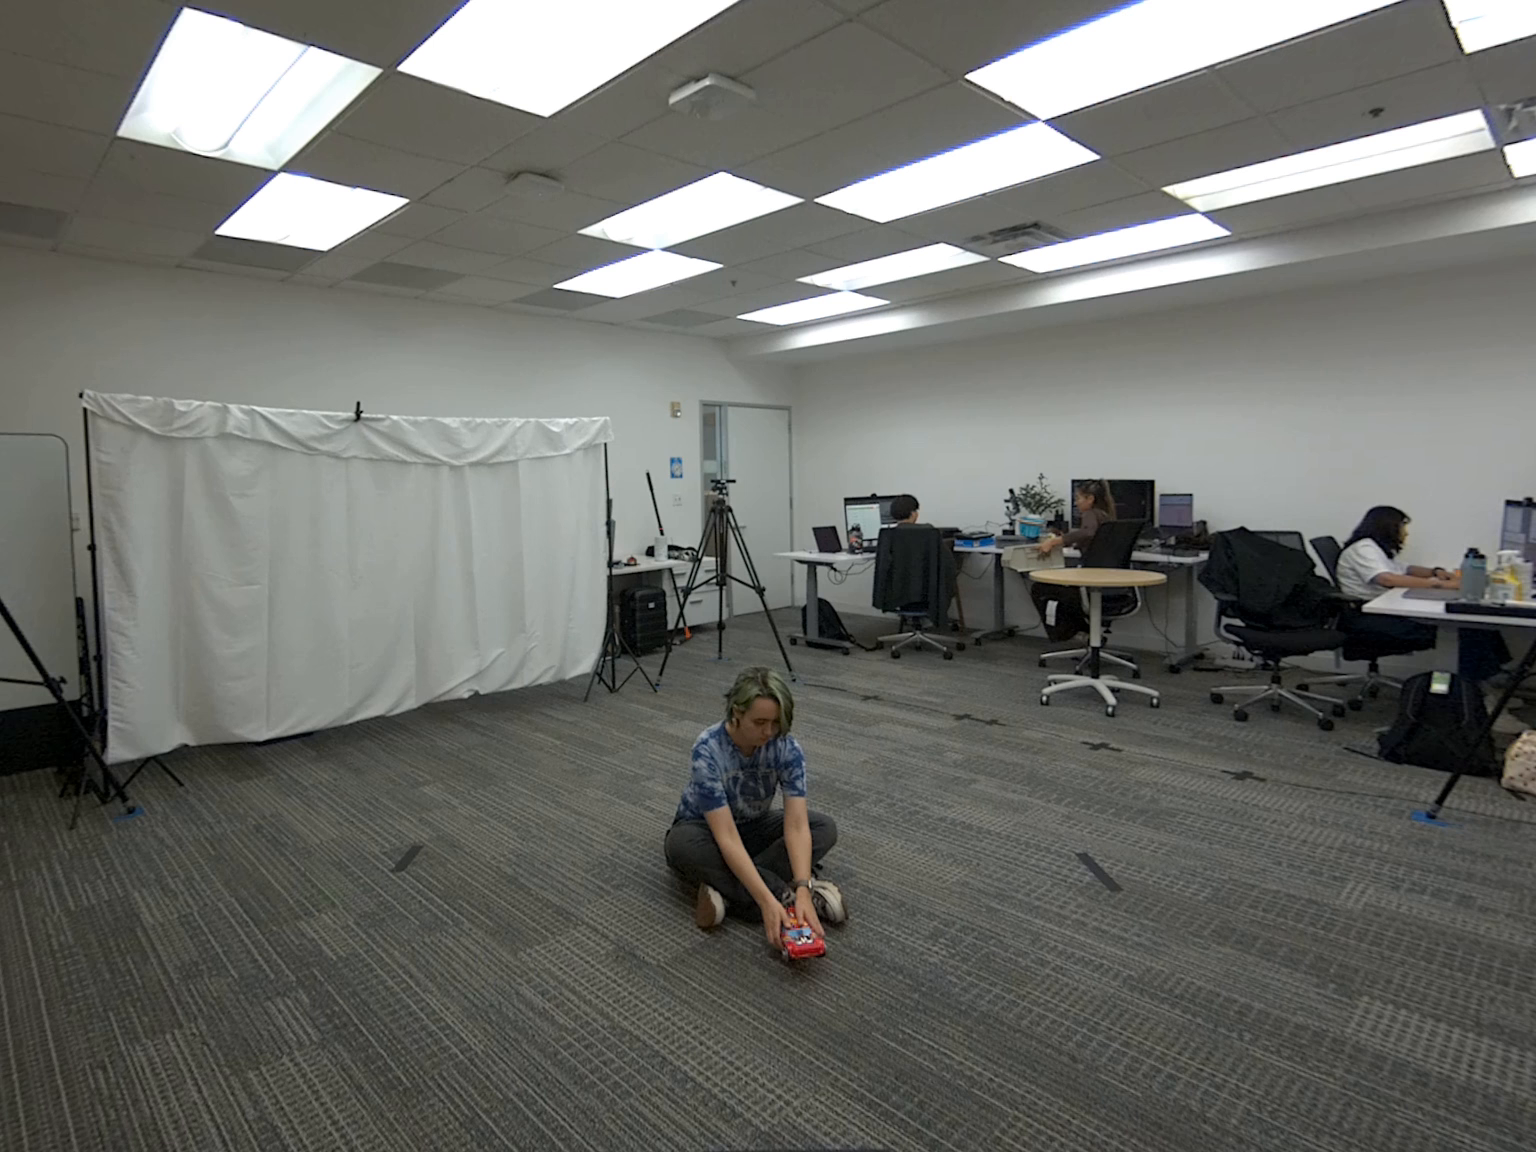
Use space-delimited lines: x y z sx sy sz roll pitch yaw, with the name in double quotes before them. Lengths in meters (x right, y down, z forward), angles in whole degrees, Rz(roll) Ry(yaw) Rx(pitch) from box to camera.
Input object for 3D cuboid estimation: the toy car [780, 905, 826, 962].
"toy car" 0.084 1.058 2.497 0.129 0.083 0.259 -4 8 -14
